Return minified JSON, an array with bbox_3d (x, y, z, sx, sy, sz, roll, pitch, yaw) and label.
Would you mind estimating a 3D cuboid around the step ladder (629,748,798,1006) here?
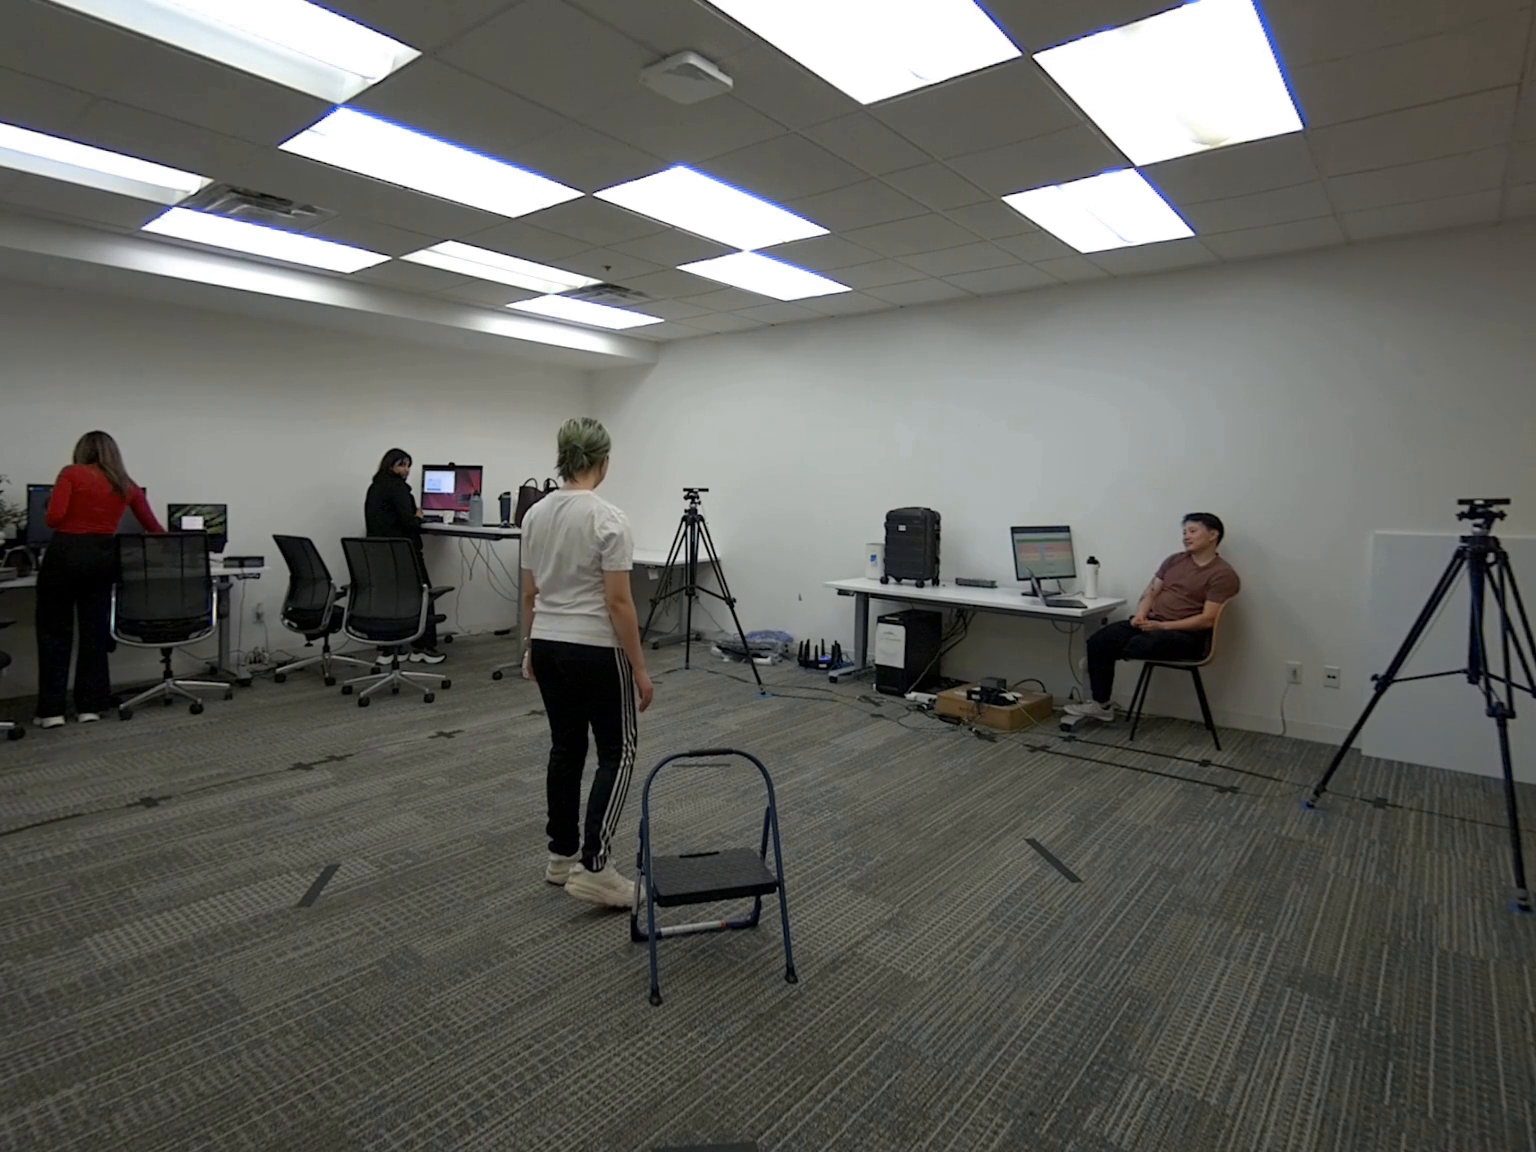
[{"bbox_3d":[-0.172,0.831,2.493,0.423,0.604,0.357,0,4,-19],"label":"step ladder"}]
